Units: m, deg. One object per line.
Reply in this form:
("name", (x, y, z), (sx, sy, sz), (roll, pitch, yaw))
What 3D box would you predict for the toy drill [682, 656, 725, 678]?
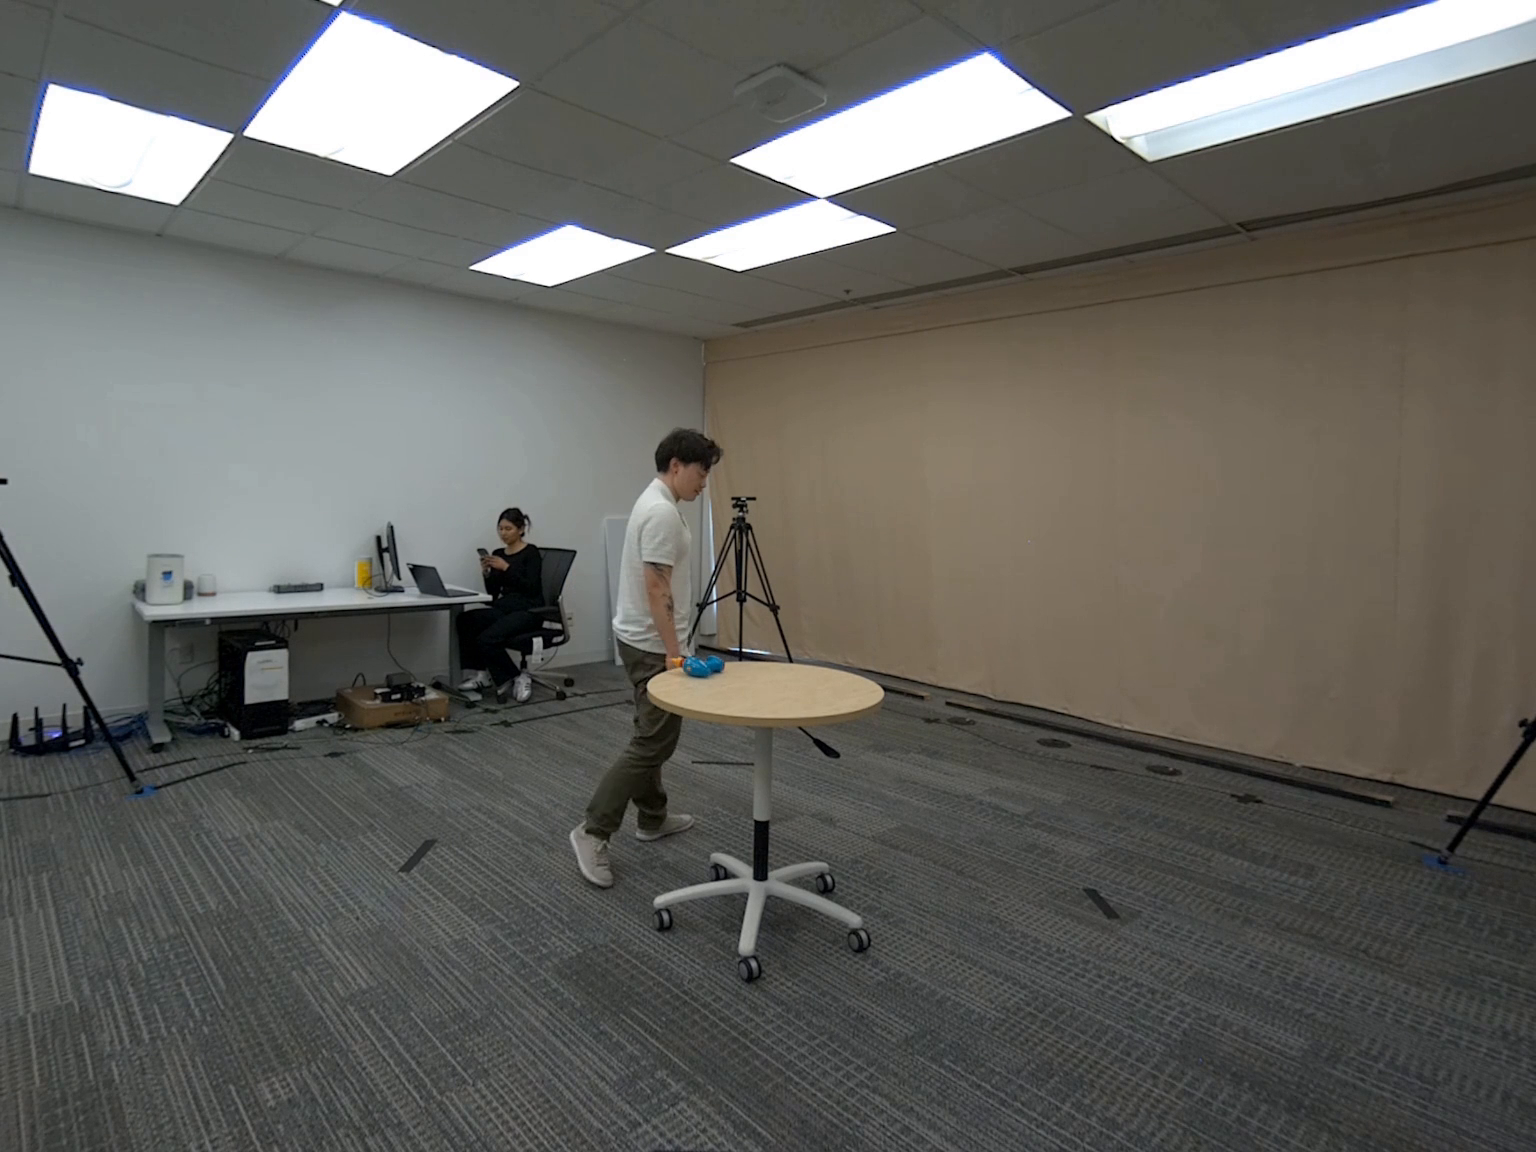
("toy drill", (-0.257, 0.307, 2.901), (0.174, 0.061, 0.143), (11, 7, 29))
